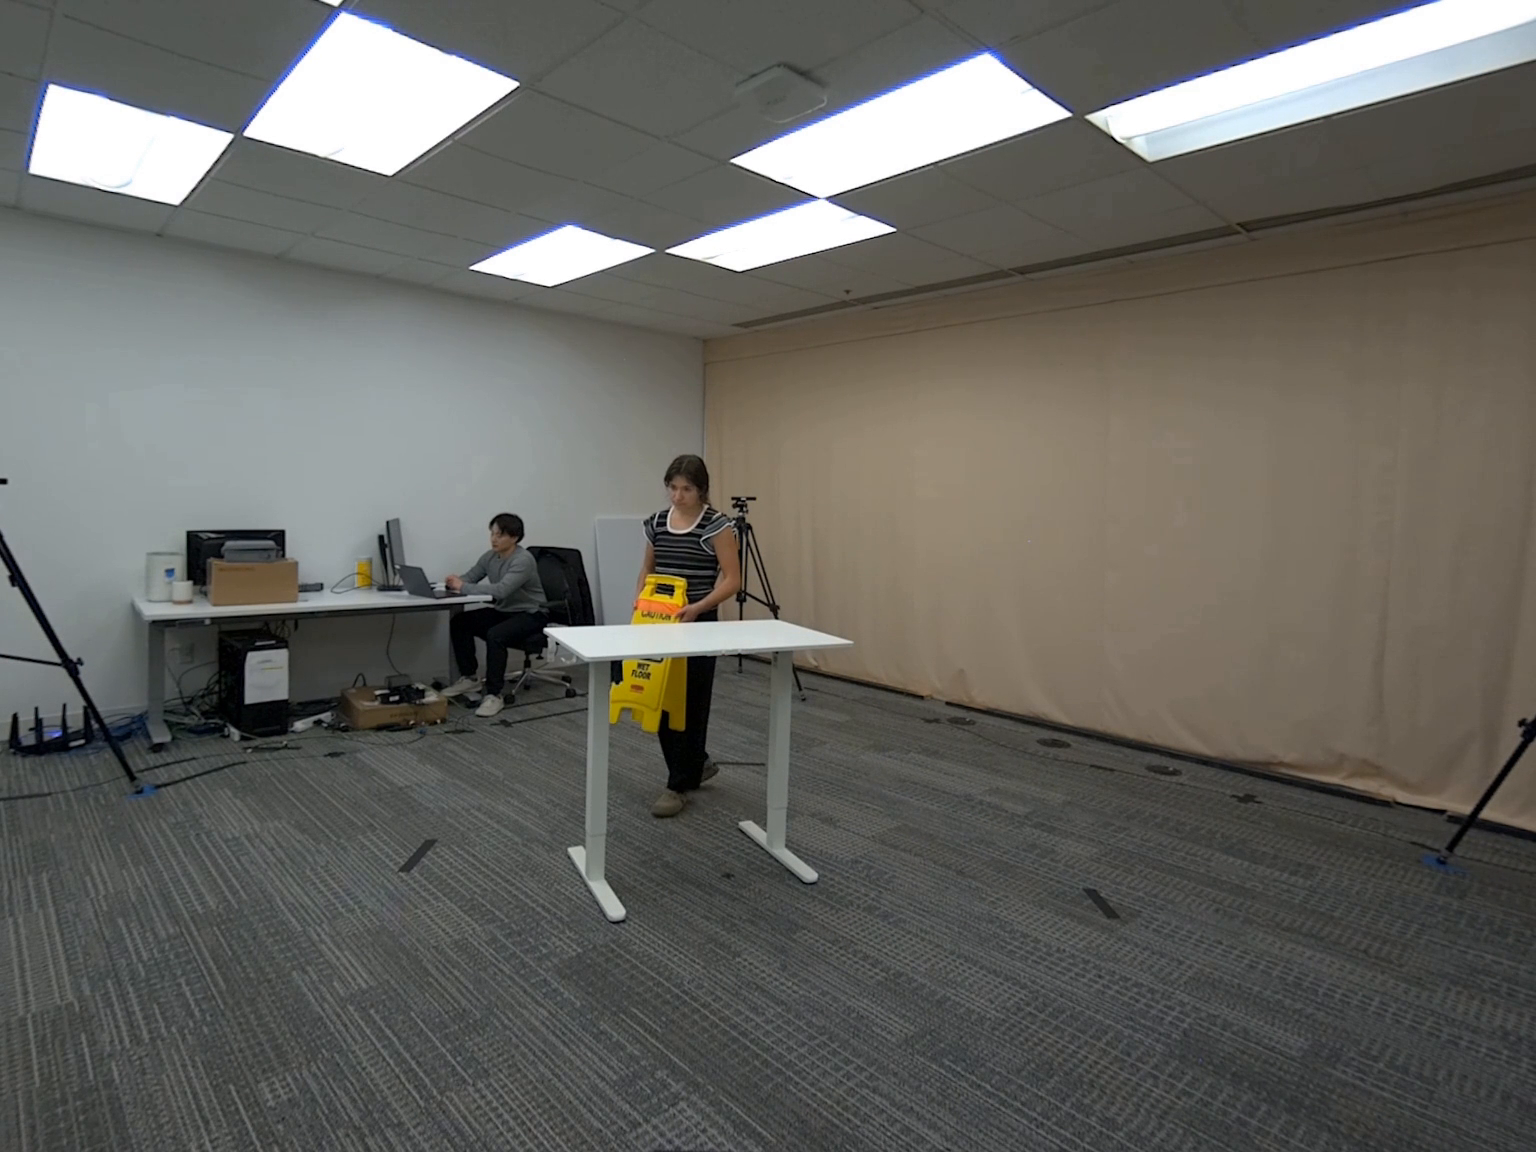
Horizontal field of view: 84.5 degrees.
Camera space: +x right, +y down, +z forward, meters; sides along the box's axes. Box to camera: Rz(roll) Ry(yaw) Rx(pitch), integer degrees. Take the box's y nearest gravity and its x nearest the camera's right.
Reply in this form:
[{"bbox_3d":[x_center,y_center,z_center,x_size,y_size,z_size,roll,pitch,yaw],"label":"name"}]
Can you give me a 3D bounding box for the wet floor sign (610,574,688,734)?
[{"bbox_3d":[-0.508,0.327,3.644,0.288,0.648,0.282,7,-6,27],"label":"wet floor sign"}]
